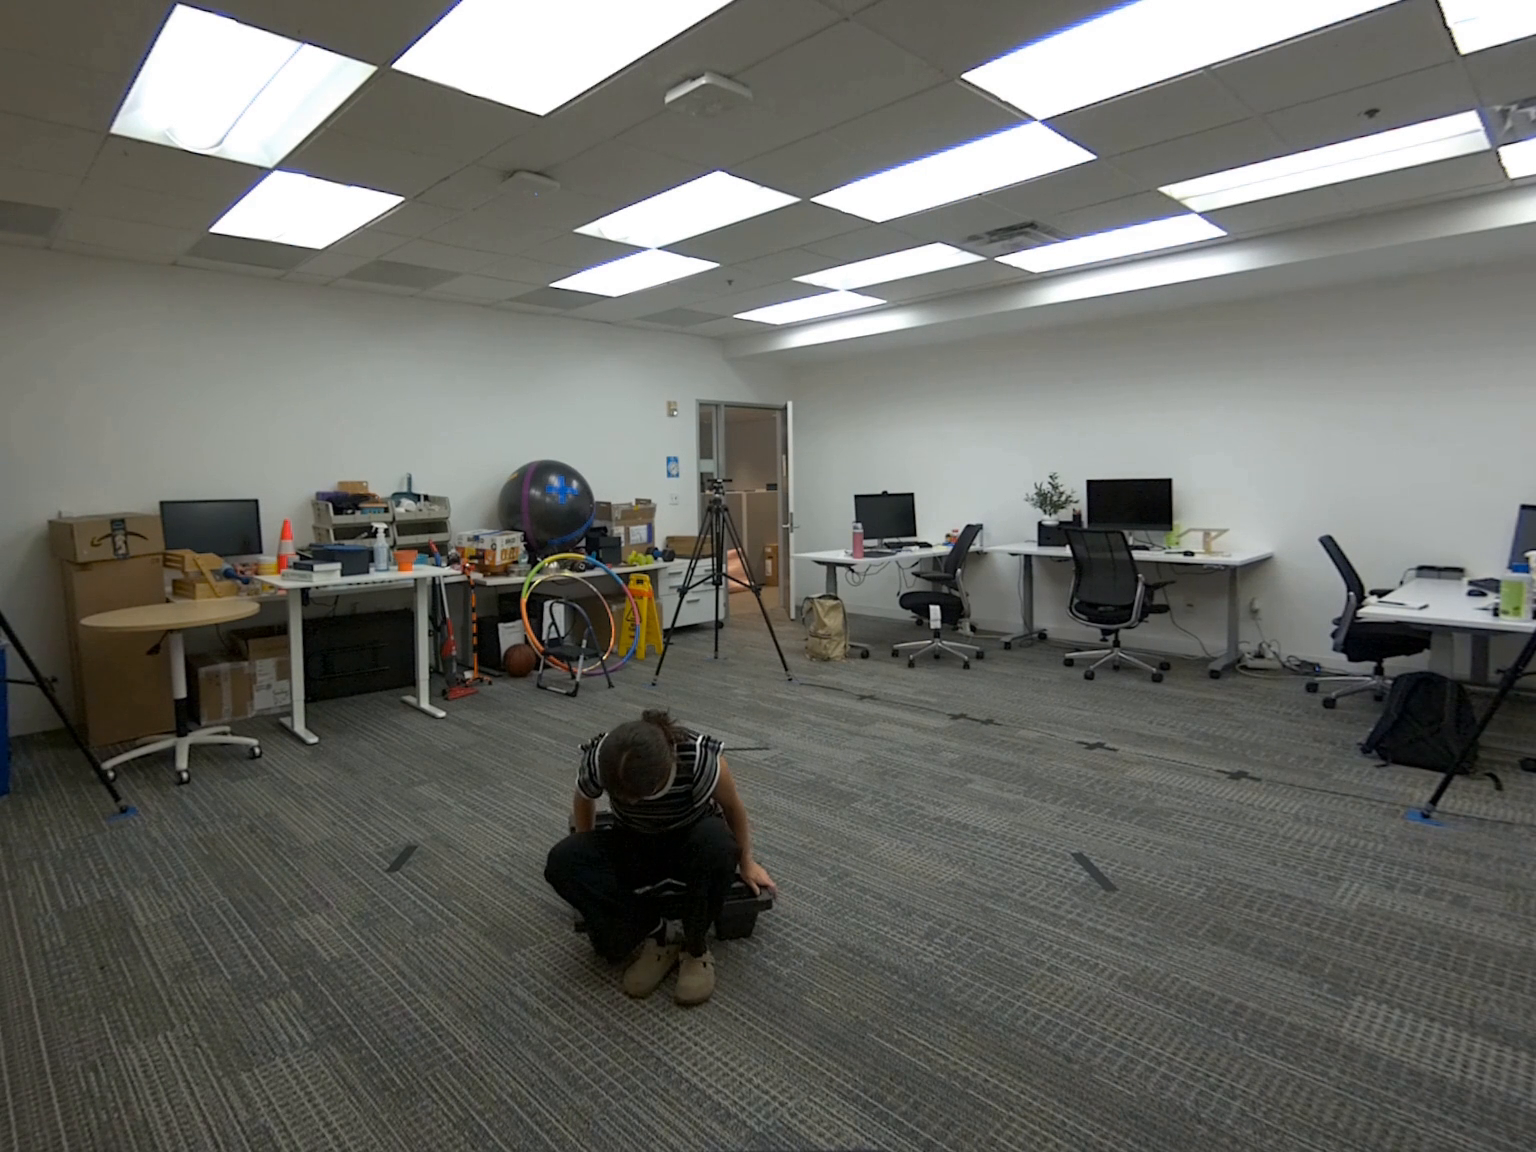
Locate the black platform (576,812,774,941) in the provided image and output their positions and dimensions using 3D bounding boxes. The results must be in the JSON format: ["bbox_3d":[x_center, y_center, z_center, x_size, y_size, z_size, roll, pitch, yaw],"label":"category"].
[{"bbox_3d":[-0.364,1.007,2.915,0.598,0.142,0.819,-4,8,-13],"label":"black platform"}]
